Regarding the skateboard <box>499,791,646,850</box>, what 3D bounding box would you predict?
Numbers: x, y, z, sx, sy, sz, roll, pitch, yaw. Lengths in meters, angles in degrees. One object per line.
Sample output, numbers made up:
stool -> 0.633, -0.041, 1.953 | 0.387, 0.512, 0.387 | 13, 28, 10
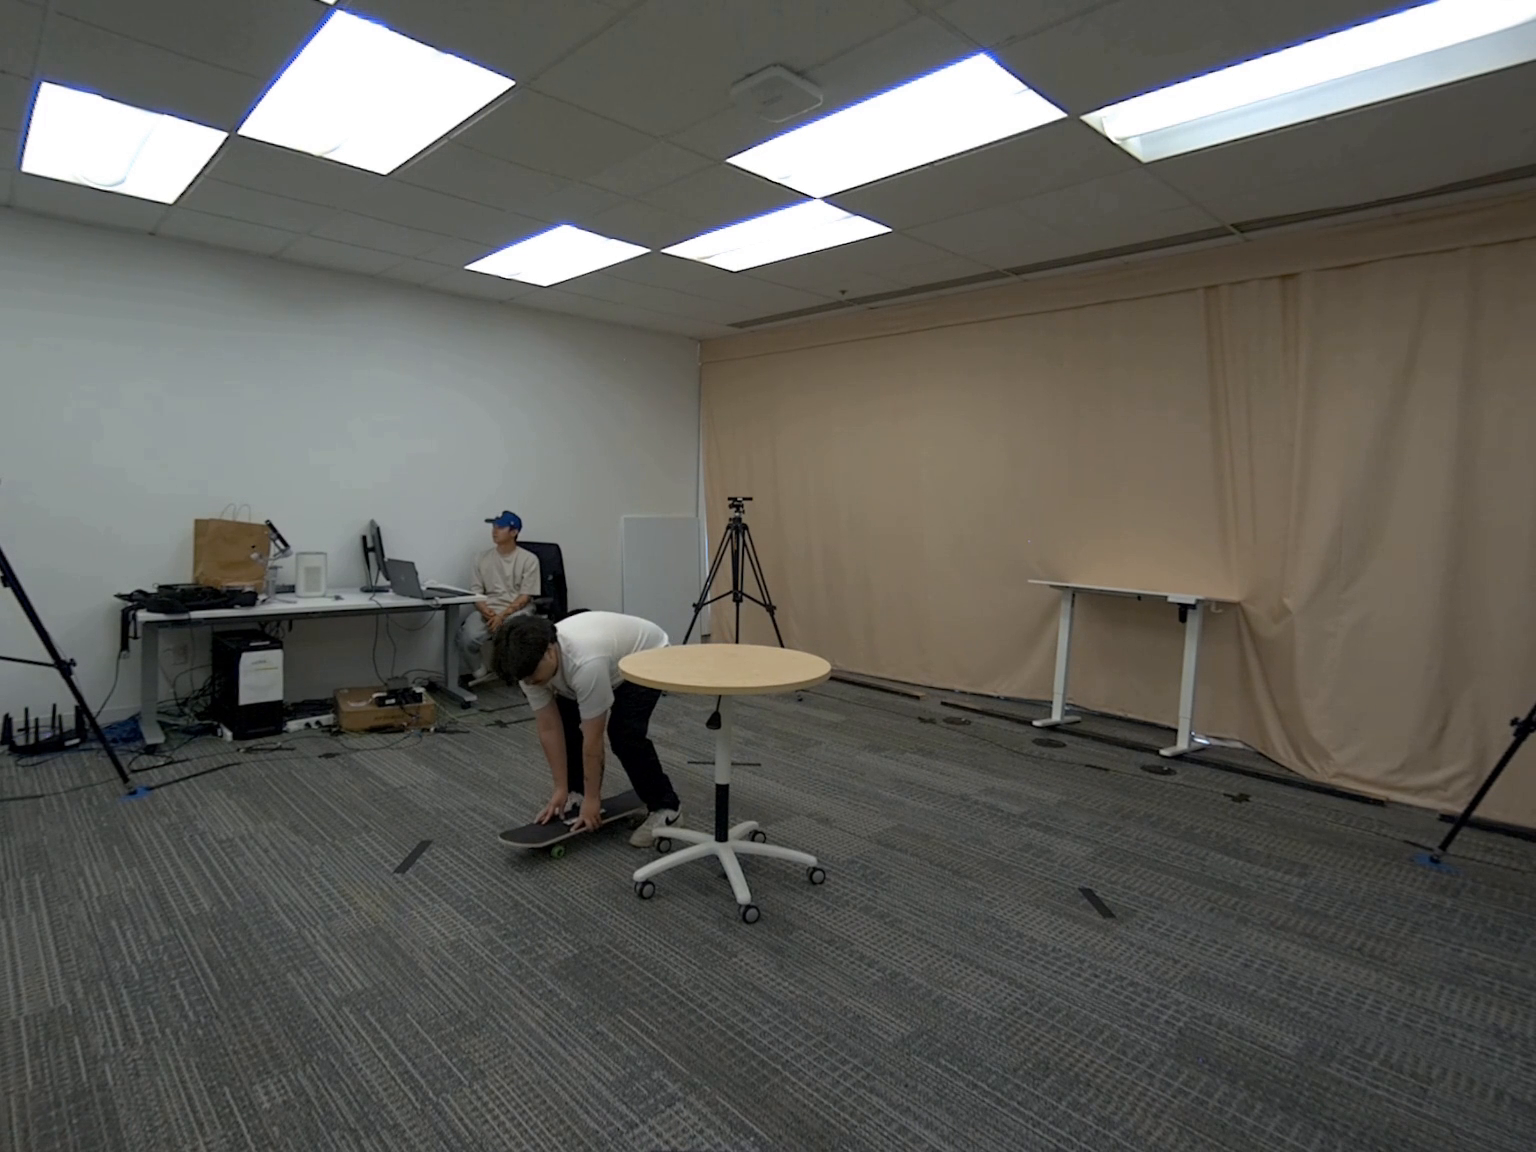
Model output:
skateboard -> -0.751, 1.017, 3.427 | 0.198, 0.110, 0.768 | 4, 5, 38
